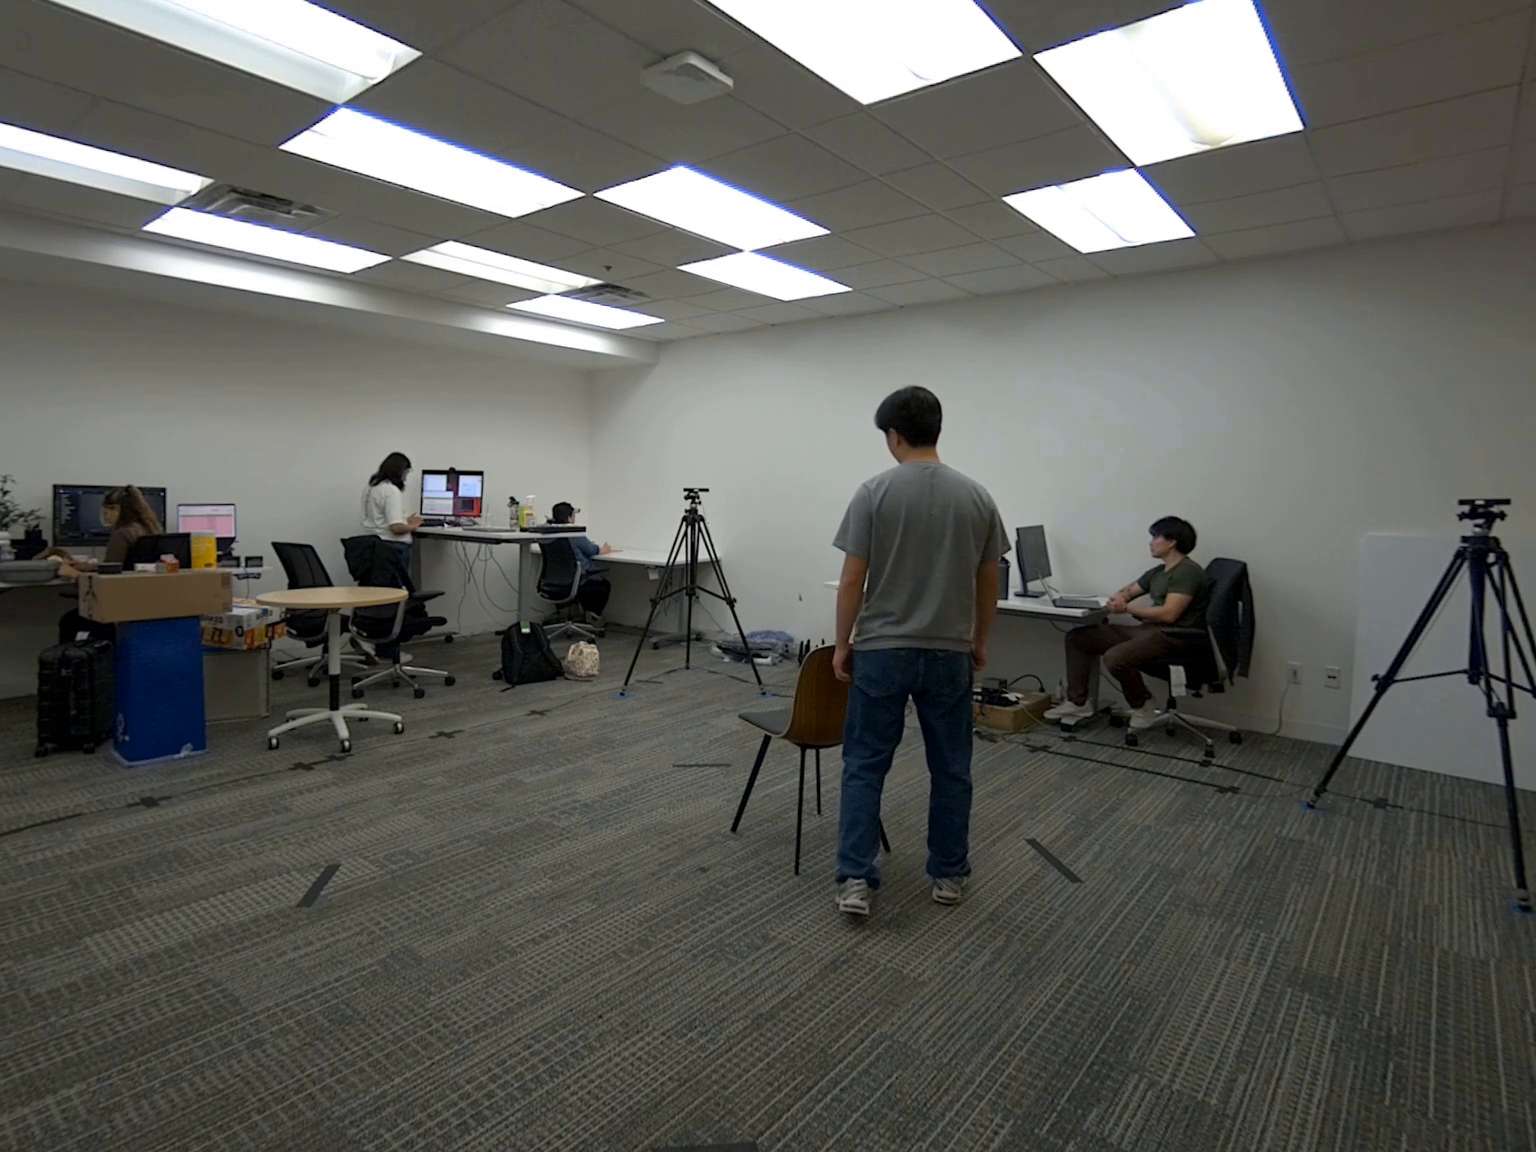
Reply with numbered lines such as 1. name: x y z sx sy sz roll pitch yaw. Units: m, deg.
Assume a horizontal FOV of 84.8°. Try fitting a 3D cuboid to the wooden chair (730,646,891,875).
1. wooden chair: 0.151 0.625 3.358 0.465 0.872 0.541 -1 8 -32
